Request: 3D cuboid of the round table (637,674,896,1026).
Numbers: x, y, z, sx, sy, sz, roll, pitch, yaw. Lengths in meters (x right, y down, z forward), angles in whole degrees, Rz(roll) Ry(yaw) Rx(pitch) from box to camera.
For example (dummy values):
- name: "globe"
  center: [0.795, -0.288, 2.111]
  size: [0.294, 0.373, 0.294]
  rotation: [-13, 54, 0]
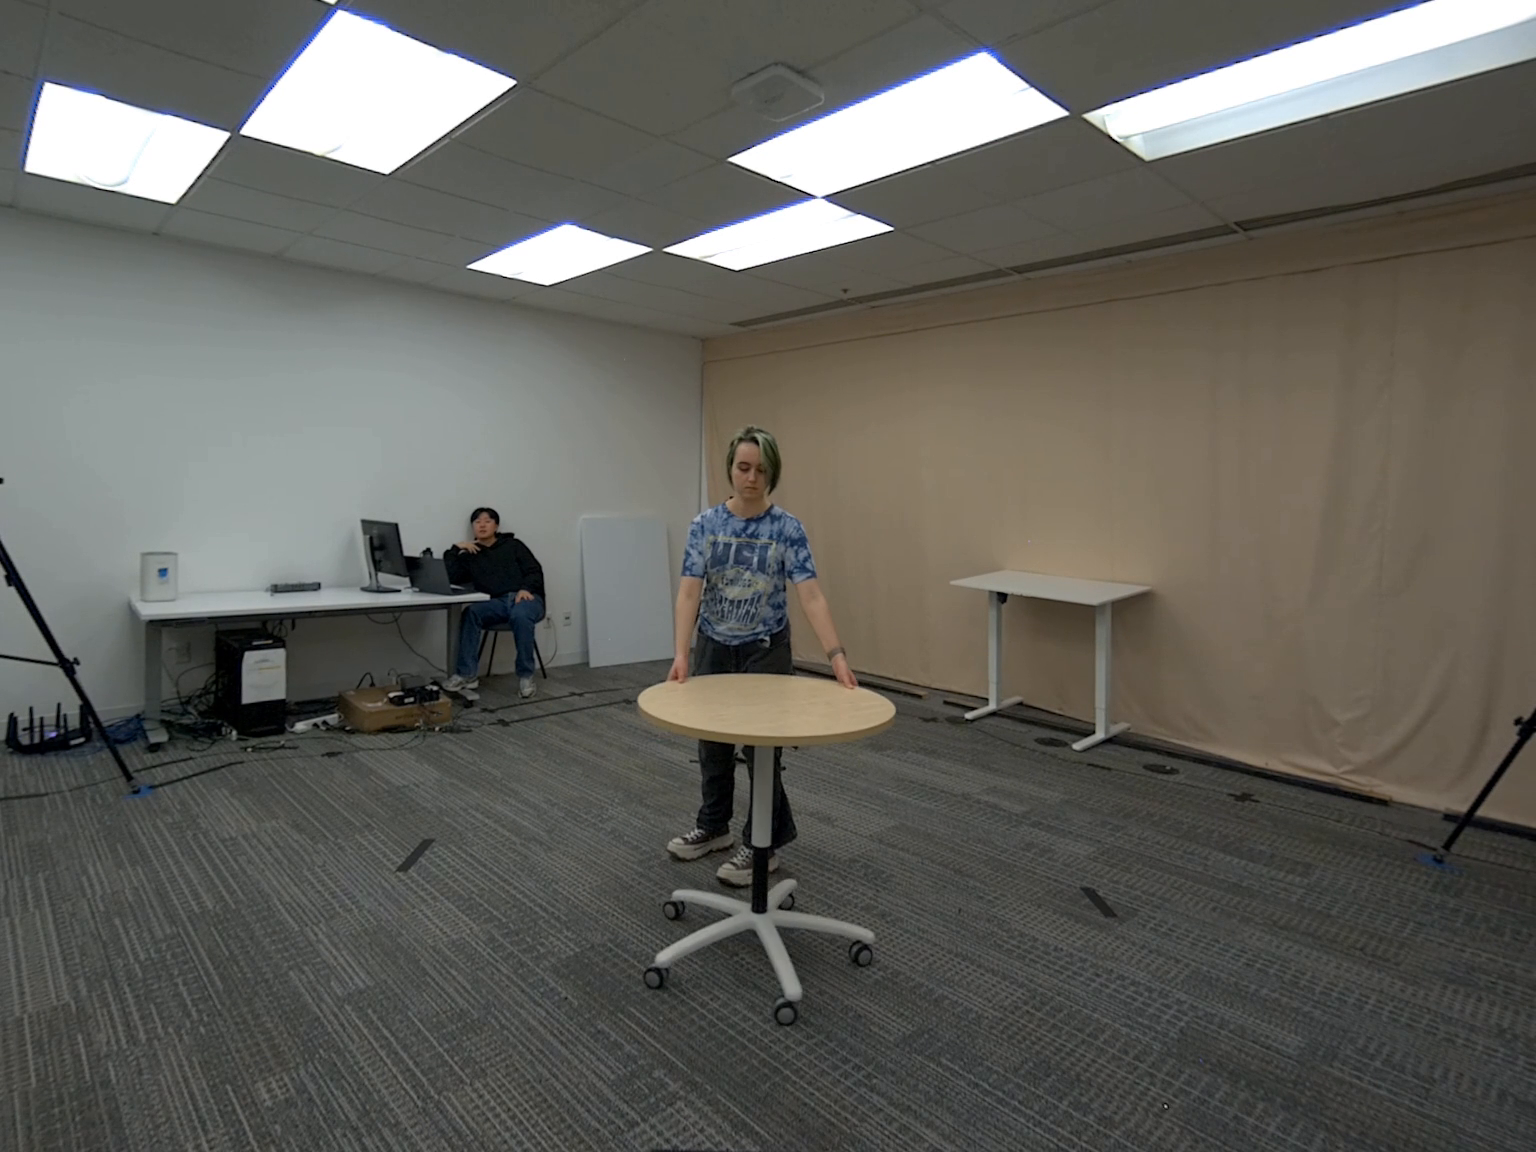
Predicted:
- name: "round table"
  center: [-0.034, 0.769, 2.548]
  size: [0.763, 0.792, 0.767]
  rotation: [2, 4, -1]
